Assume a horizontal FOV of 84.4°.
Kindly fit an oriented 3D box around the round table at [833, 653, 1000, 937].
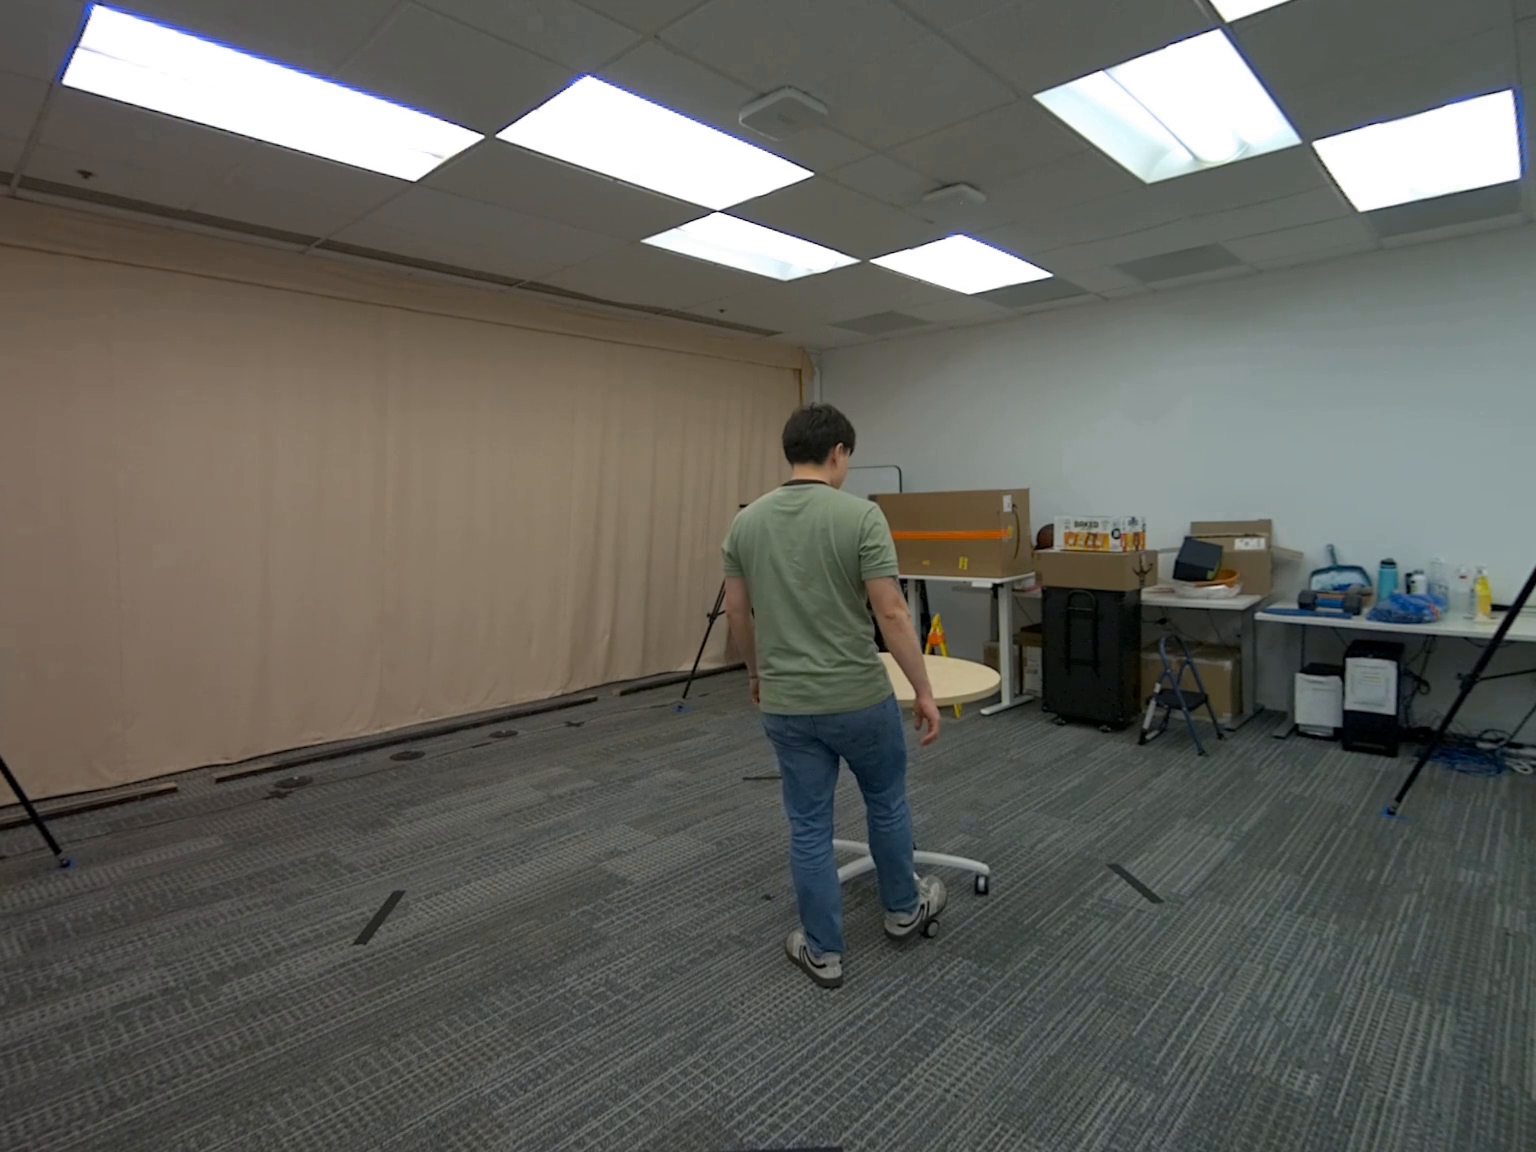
[{"bbox_3d":[0.440,0.739,3.022,0.763,0.792,0.767,-1,4,-2],"label":"round table"}]
